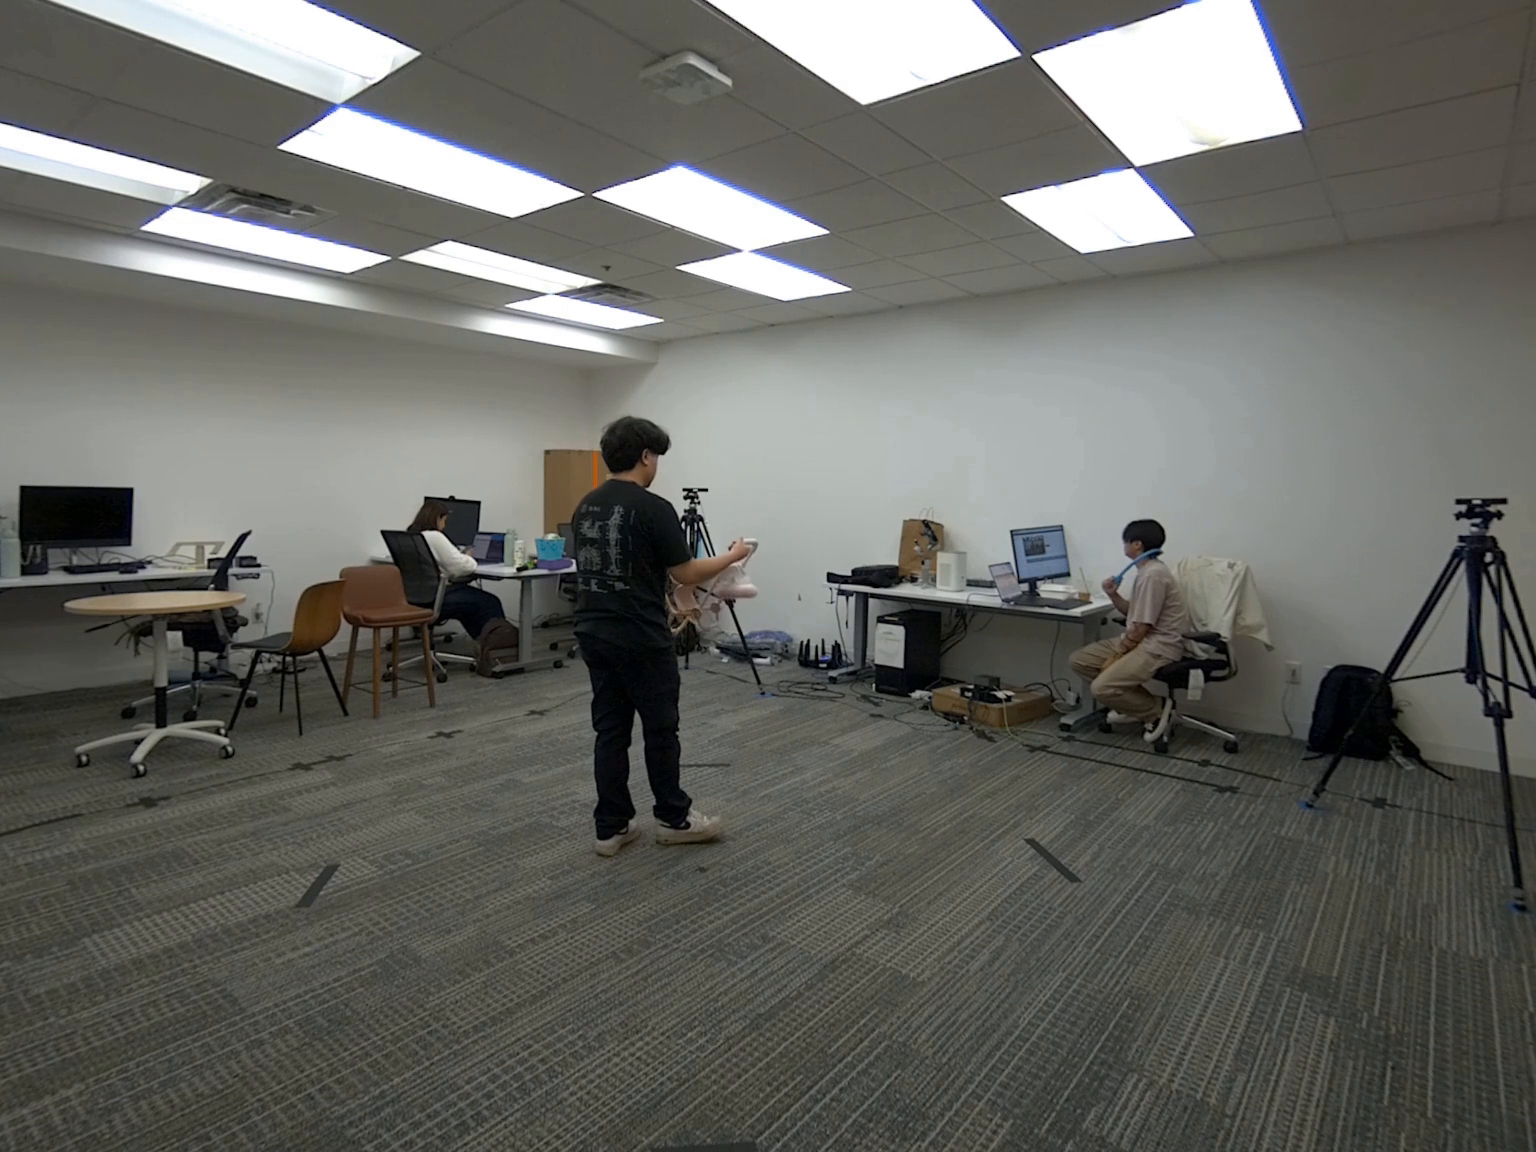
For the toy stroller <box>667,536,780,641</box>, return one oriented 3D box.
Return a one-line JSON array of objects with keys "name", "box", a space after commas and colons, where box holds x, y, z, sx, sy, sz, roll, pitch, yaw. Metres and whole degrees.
[{"name": "toy stroller", "box": [-0.285, 0.065, 3.586, 0.544, 0.344, 0.274, -14, -7, 23]}]
